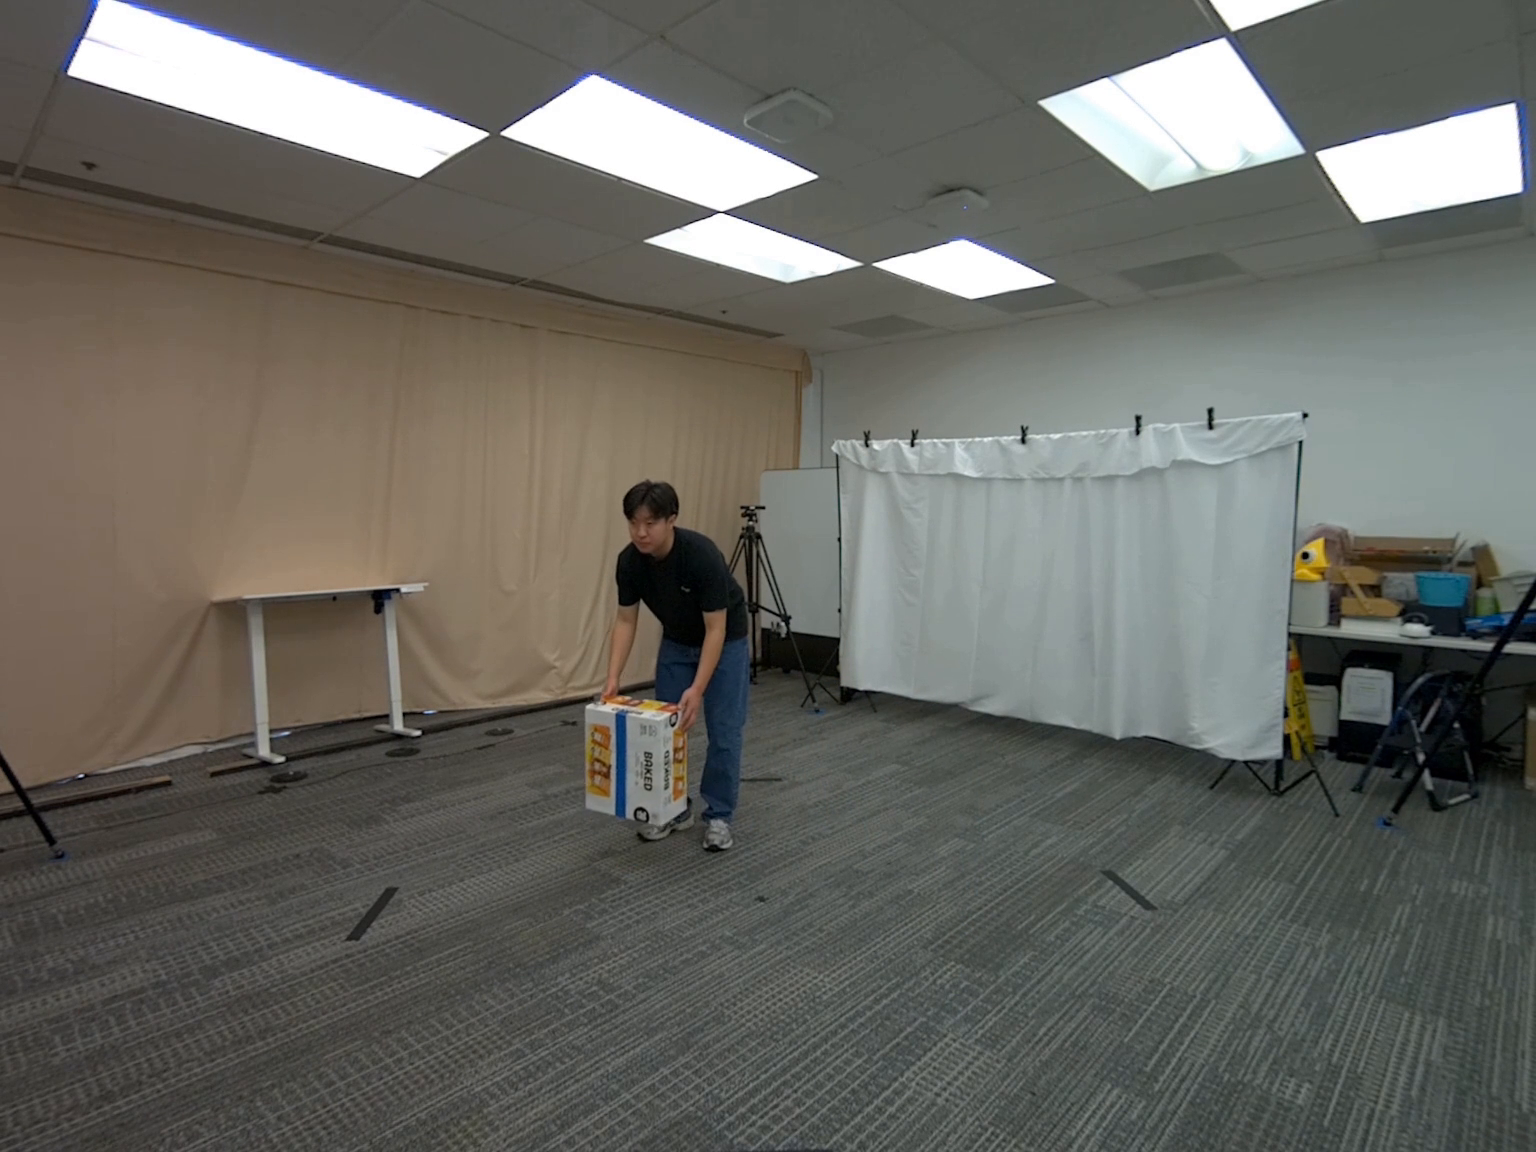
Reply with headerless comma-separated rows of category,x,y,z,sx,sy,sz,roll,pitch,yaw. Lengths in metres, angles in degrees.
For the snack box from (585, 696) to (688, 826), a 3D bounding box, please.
snack box,-0.503,0.695,3.239,0.349,0.404,0.201,4,5,26
